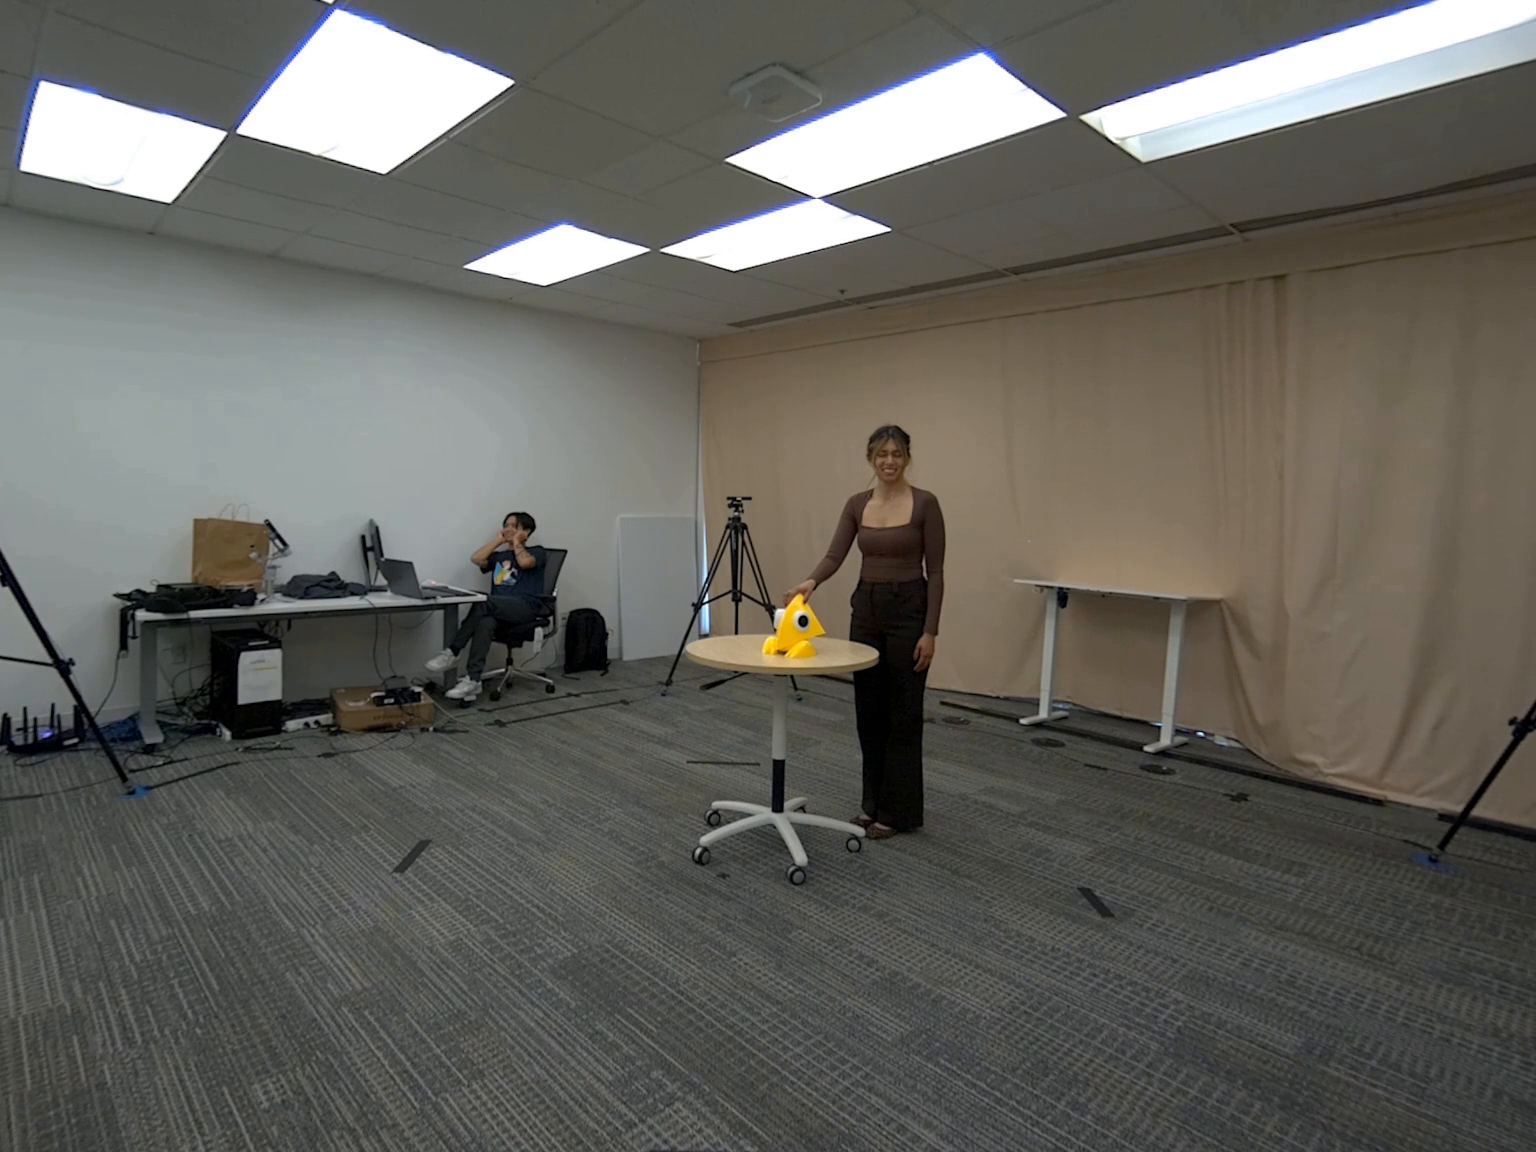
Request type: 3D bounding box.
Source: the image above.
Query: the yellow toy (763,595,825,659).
[{"bbox_3d":[0.081,0.185,3.267,0.210,0.230,0.189,3,4,36],"label":"yellow toy"}]
